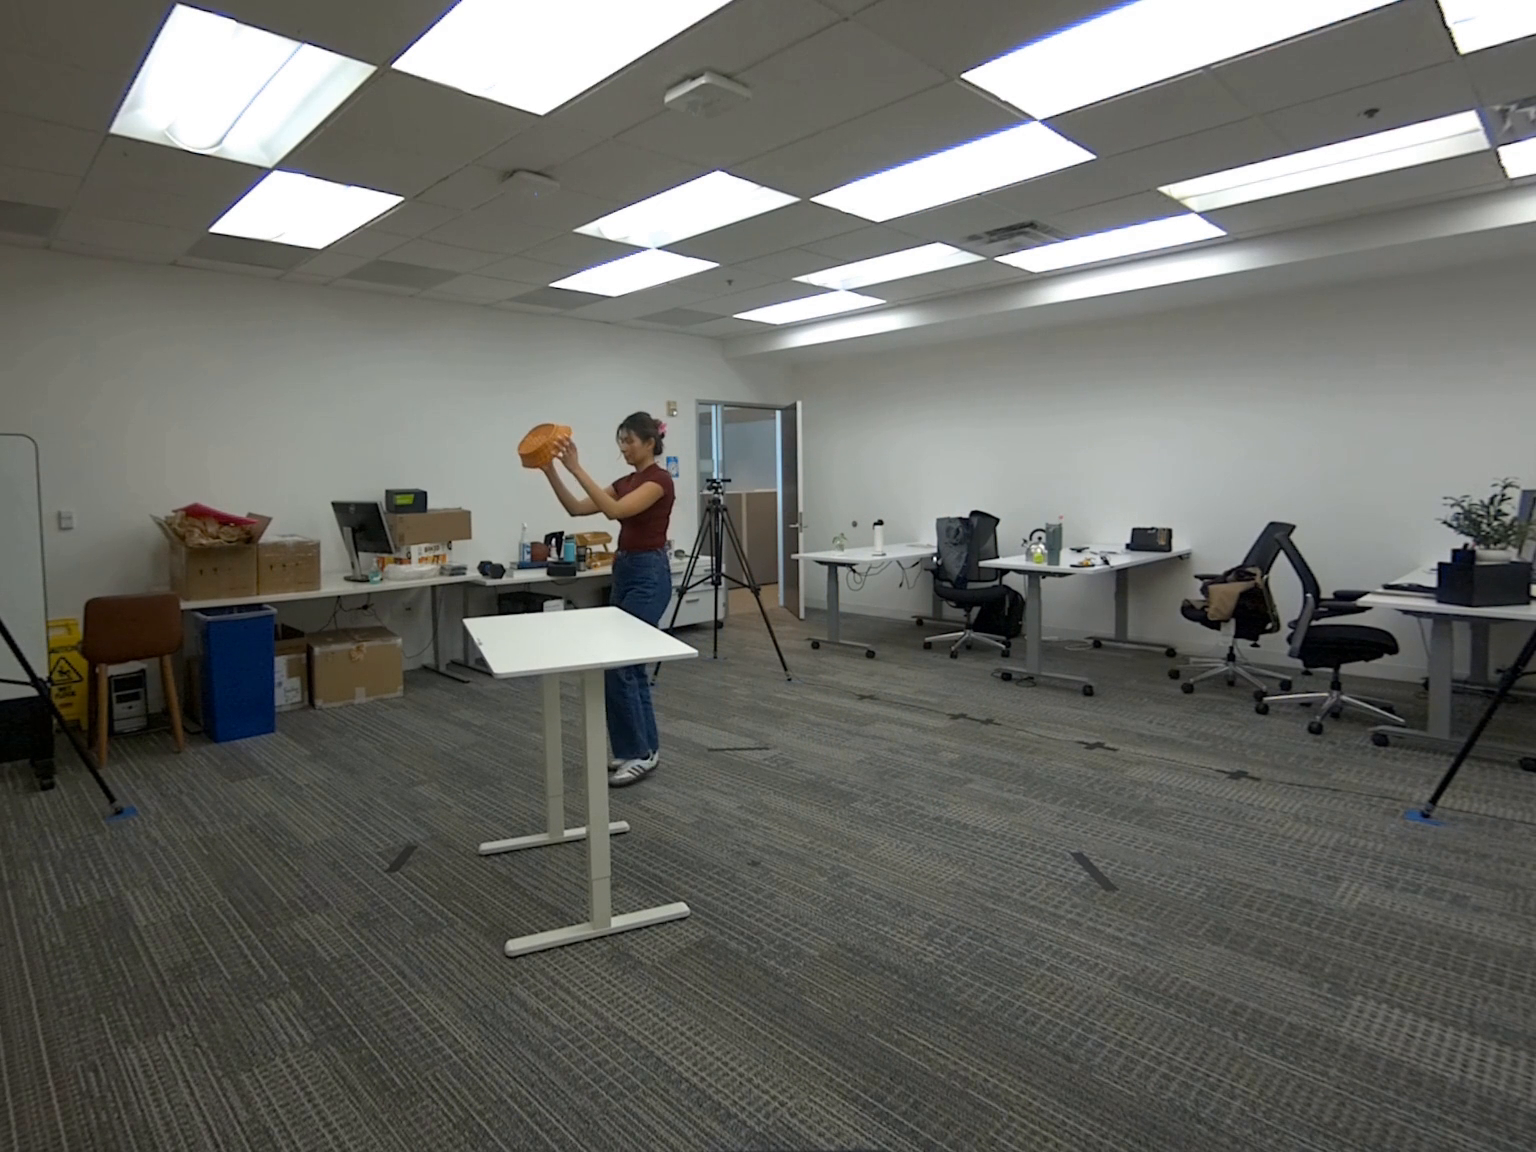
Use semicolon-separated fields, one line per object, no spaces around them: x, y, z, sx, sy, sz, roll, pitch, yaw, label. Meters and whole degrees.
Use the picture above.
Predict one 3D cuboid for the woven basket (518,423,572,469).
-0.998;-0.593;3.804;0.361;0.253;0.071;7;-31;51;woven basket
